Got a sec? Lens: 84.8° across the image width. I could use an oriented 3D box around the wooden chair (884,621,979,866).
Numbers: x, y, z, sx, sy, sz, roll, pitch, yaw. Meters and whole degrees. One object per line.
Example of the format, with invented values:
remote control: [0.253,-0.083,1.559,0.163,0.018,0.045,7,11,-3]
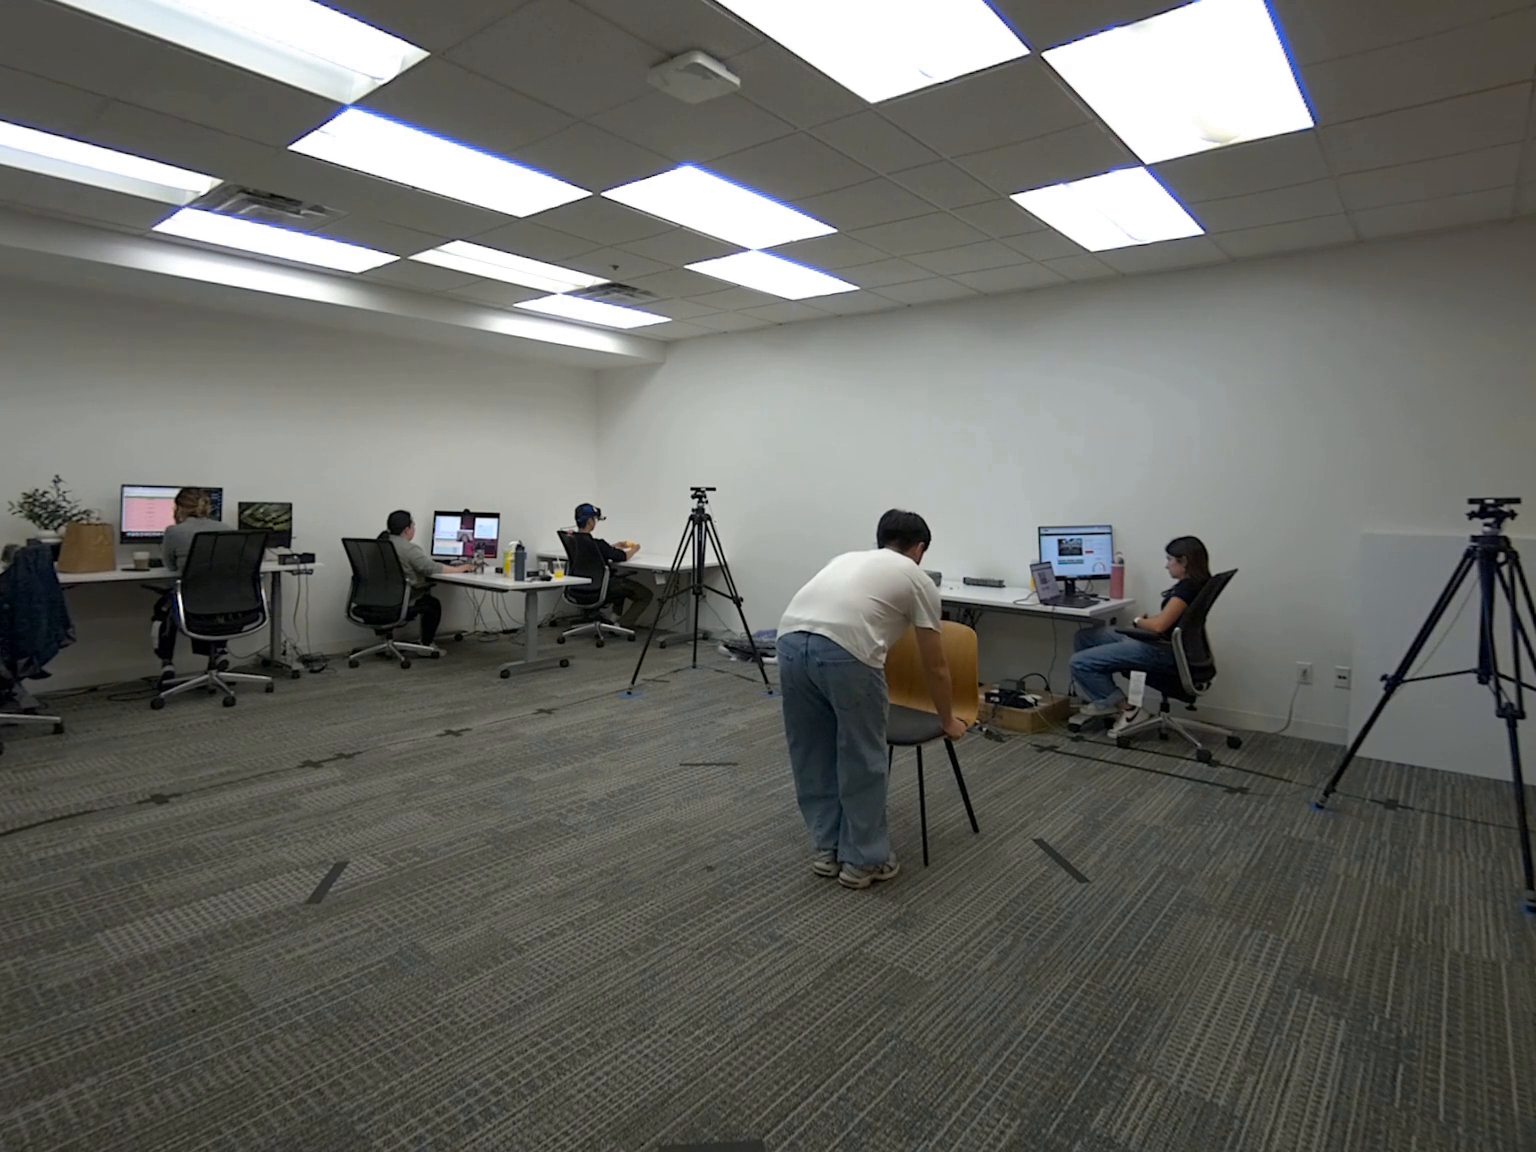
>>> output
wooden chair: [0.544,0.614,3.438,0.494,0.877,0.506,5,1,39]
